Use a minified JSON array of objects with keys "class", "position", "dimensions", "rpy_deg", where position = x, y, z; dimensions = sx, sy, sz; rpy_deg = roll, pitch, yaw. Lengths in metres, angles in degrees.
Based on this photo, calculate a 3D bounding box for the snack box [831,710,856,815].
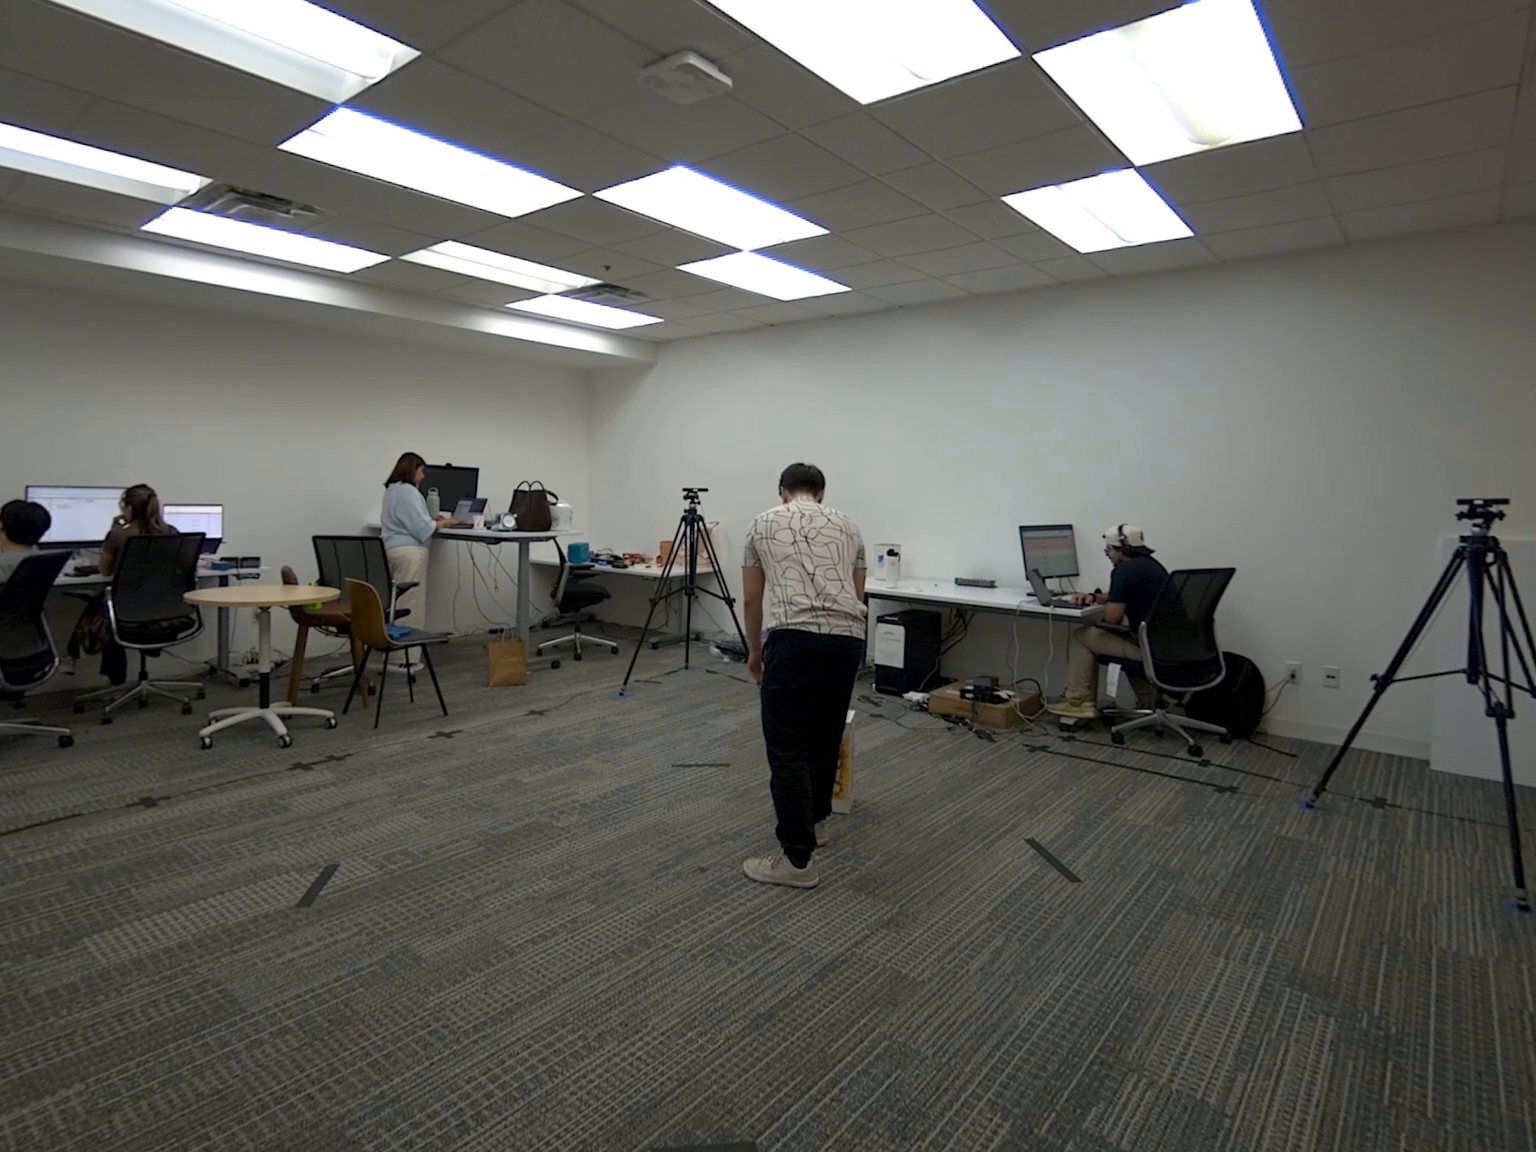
[{"class":"snack box","position":[0.201,0.803,3.796],"dimensions":[0.346,0.404,0.203],"rpy_deg":[2,4,15]}]
